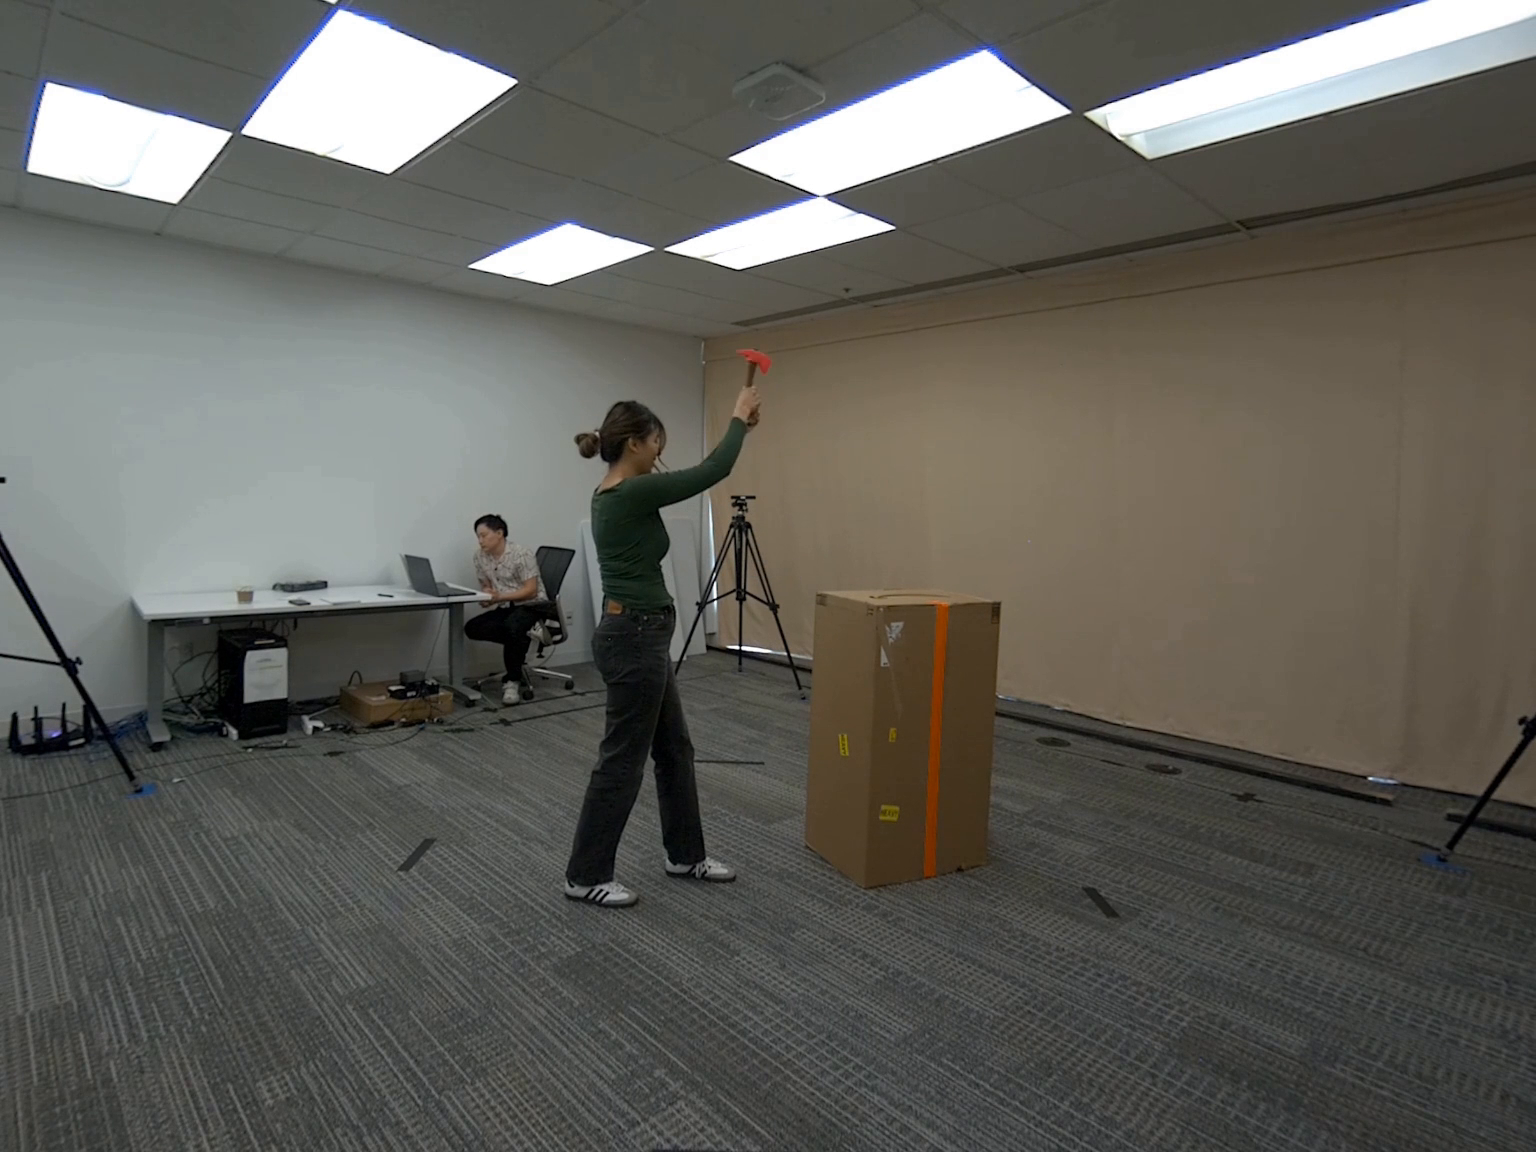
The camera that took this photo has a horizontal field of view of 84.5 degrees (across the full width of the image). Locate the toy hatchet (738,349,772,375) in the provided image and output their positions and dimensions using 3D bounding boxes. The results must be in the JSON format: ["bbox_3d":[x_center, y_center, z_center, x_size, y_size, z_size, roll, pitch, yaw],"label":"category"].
[{"bbox_3d":[-0.043,-0.672,3.004,0.129,0.268,0.030,-9,8,-25],"label":"toy hatchet"}]
